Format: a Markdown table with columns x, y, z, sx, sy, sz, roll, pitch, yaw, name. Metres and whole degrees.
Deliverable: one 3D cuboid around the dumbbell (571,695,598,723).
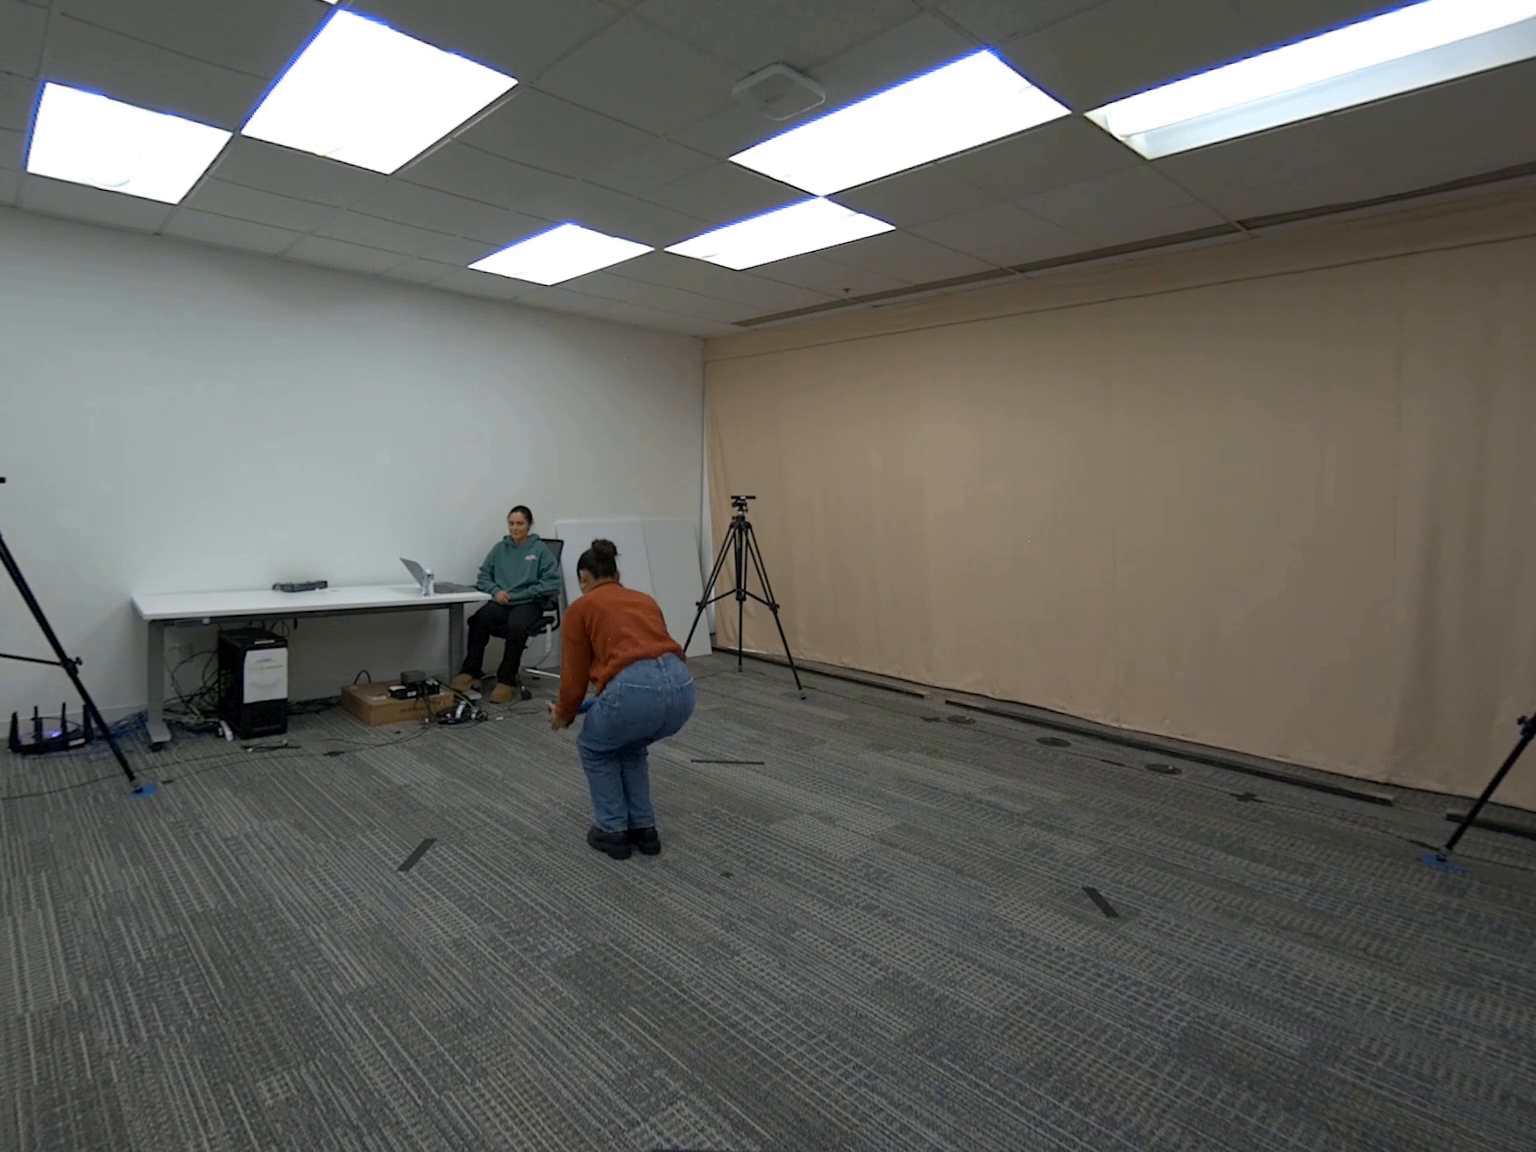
| x | y | z | sx | sy | sz | roll | pitch | yaw | name |
| --- | --- | --- | --- | --- | --- | --- | --- | --- | --- |
| -0.760 | 0.553 | 3.549 | 0.287 | 0.122 | 0.112 | -7 | 43 | -38 | dumbbell |
